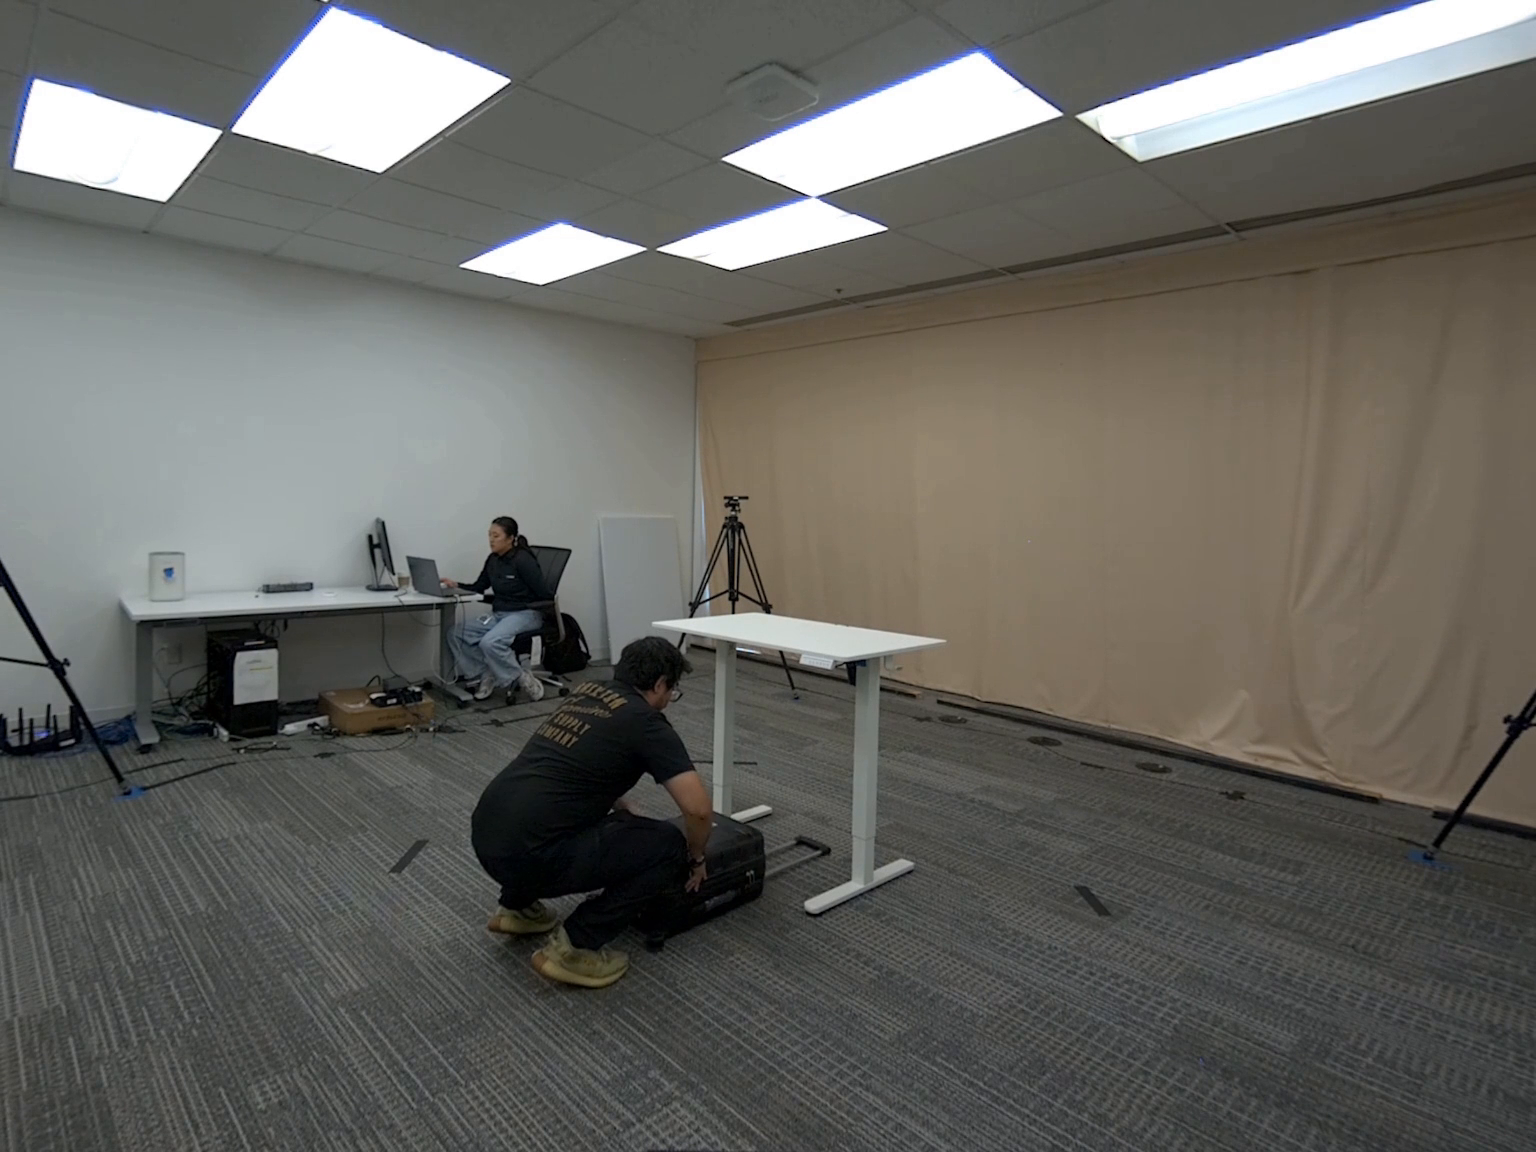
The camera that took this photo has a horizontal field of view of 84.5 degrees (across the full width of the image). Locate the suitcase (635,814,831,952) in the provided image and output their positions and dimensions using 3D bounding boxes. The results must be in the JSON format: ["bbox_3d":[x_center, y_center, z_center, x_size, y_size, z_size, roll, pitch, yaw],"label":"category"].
[{"bbox_3d":[-0.144,0.990,3.020,0.394,0.256,0.957,4,7,44],"label":"suitcase"}]
